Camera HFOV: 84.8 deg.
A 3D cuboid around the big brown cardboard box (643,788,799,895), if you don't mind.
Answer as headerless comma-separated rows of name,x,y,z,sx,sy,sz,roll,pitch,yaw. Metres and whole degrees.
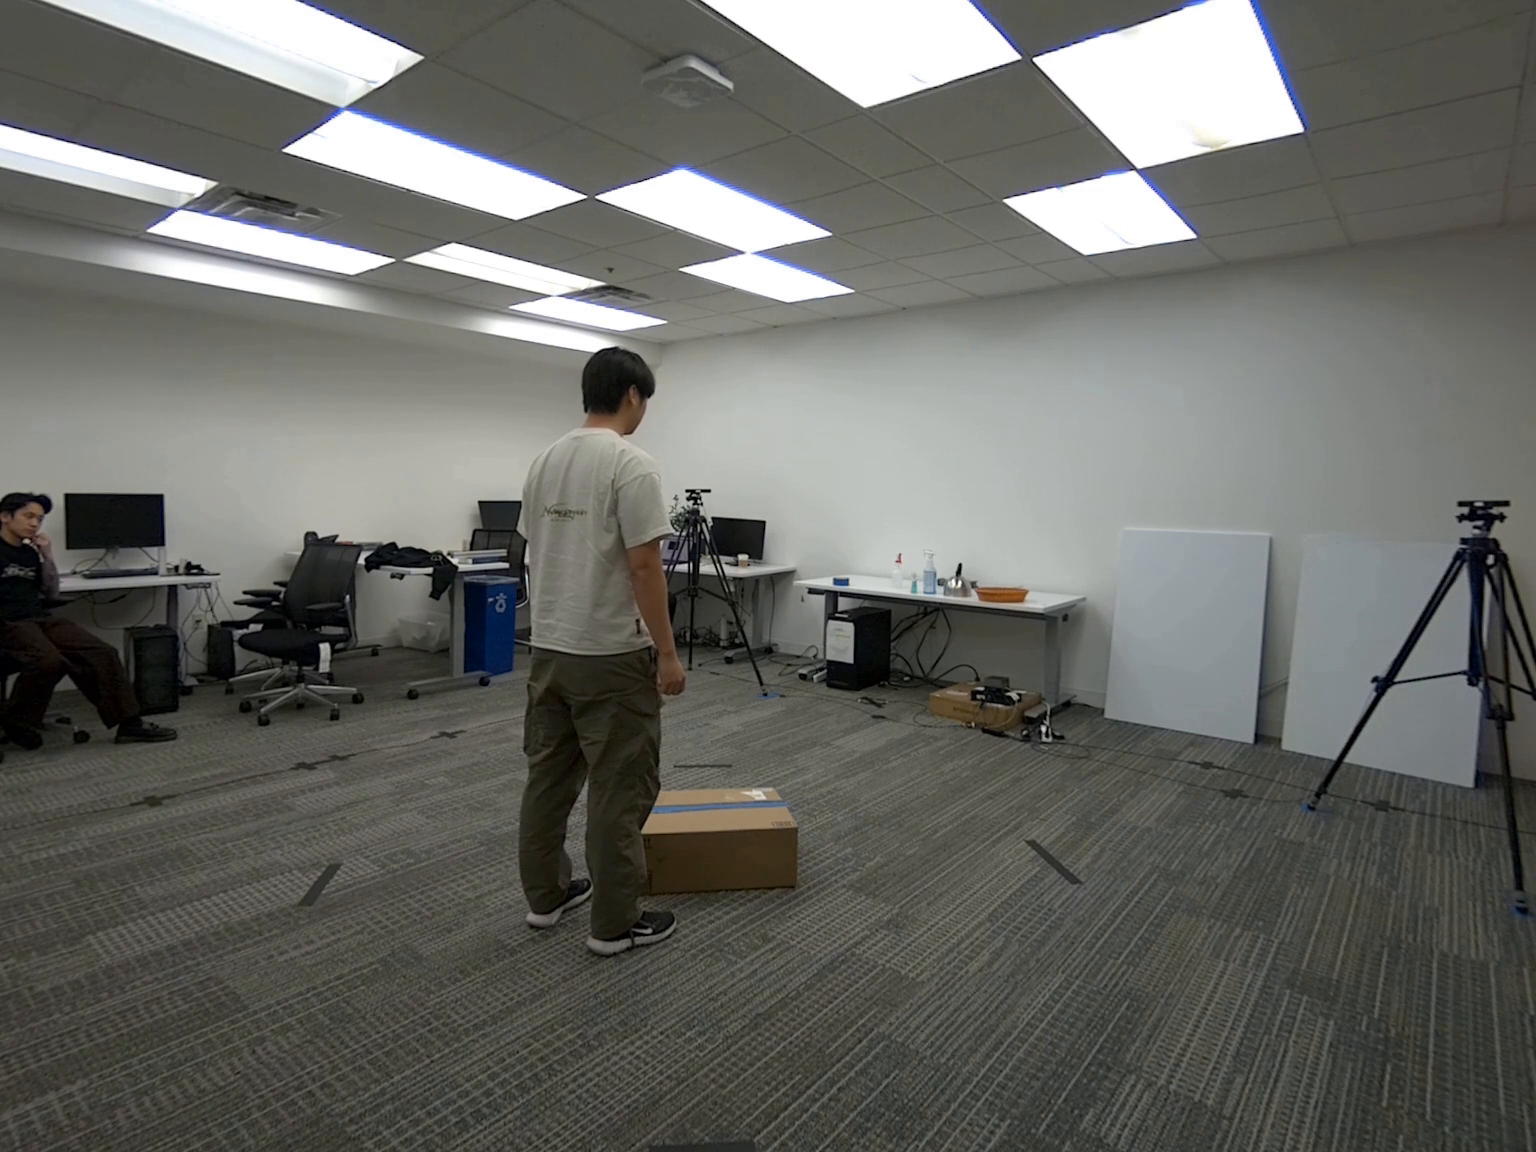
big brown cardboard box,-0.215,0.957,3.141,0.583,0.232,0.423,-1,5,-10
